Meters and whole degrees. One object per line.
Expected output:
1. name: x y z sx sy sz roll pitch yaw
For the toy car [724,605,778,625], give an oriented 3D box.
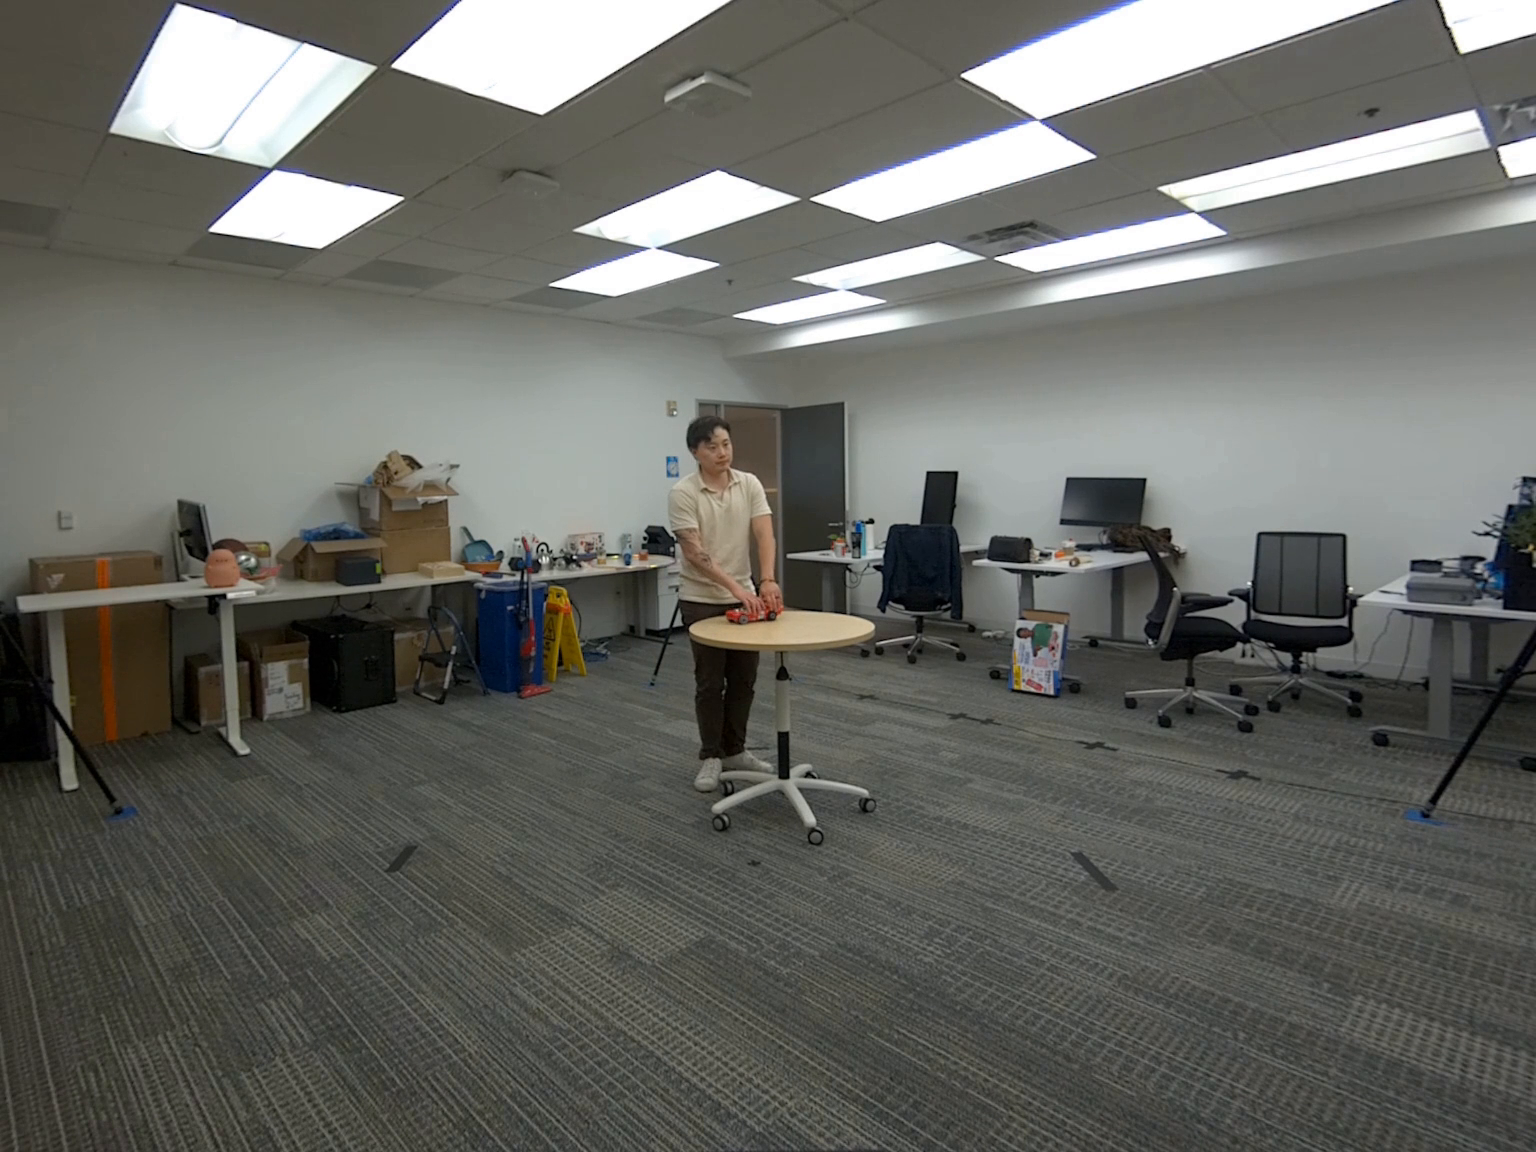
1. toy car: -0.049 0.165 3.698 0.250 0.082 0.134 -17 13 -29
